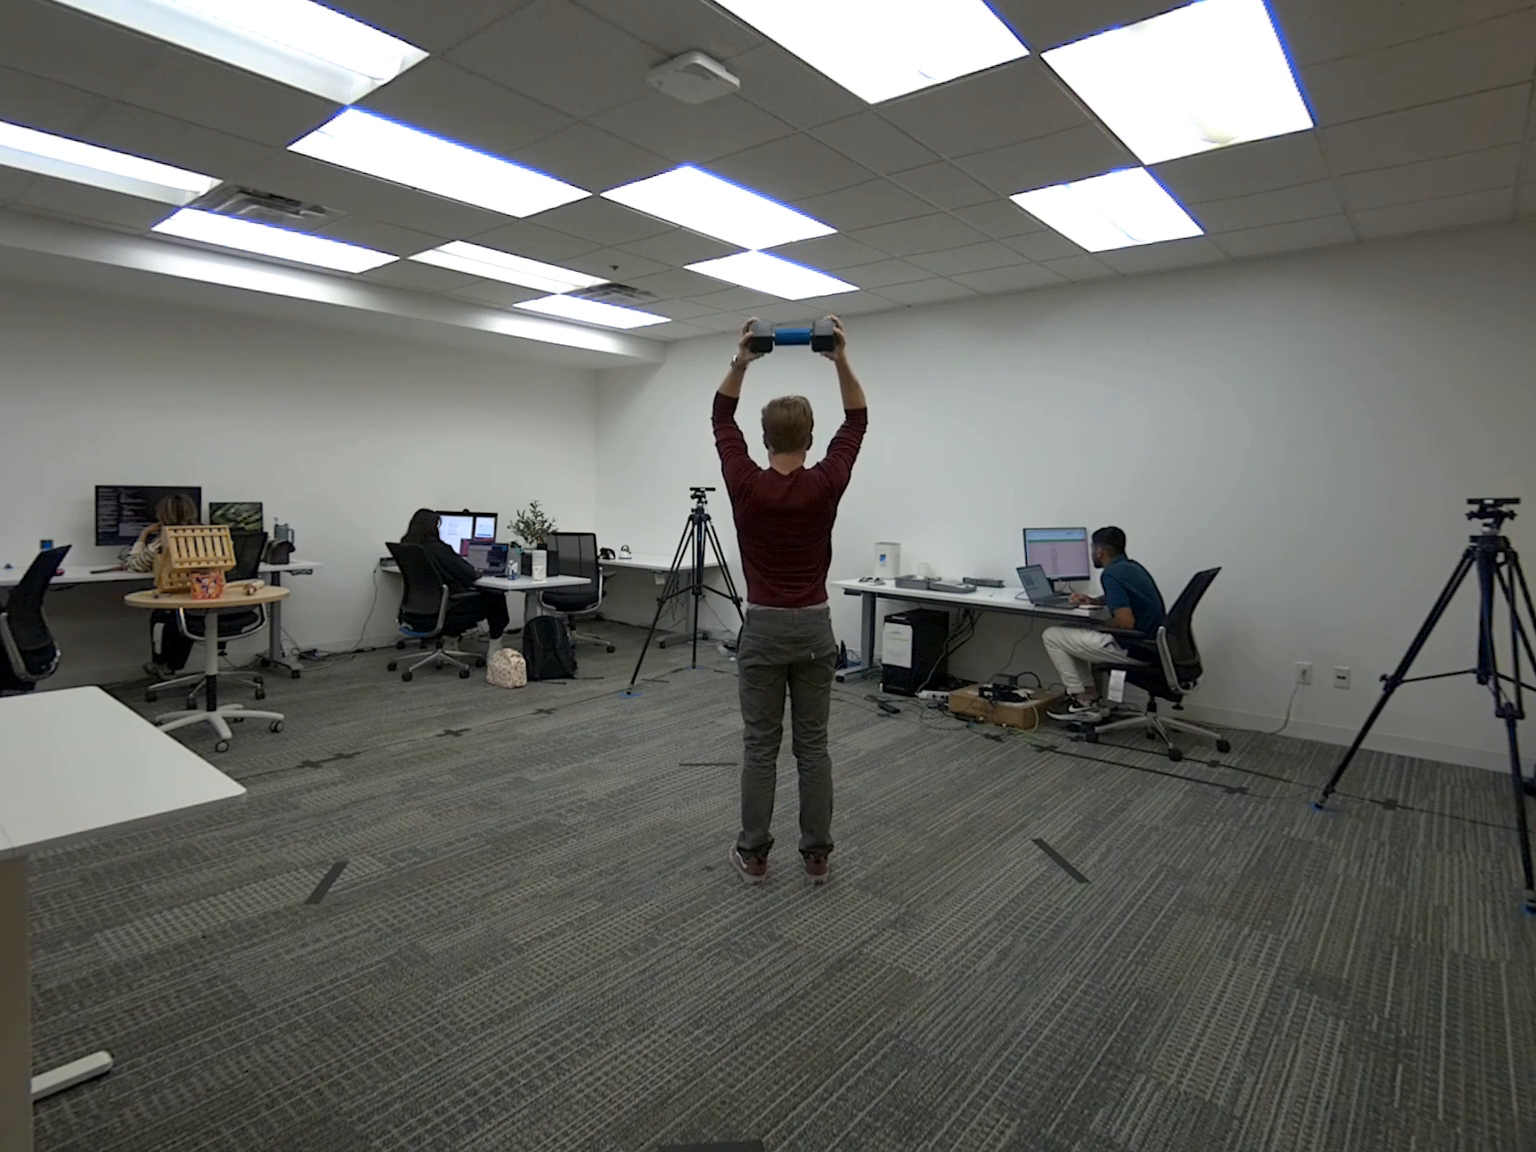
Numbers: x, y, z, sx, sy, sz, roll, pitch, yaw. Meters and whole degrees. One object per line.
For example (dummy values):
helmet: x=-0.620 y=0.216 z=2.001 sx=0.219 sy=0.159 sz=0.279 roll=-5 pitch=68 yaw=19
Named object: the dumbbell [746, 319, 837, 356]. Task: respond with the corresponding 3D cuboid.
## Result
dumbbell: x=0.087 y=-0.812 z=2.910 sx=0.294 sy=0.125 sz=0.106 roll=-1 pitch=-21 yaw=2
